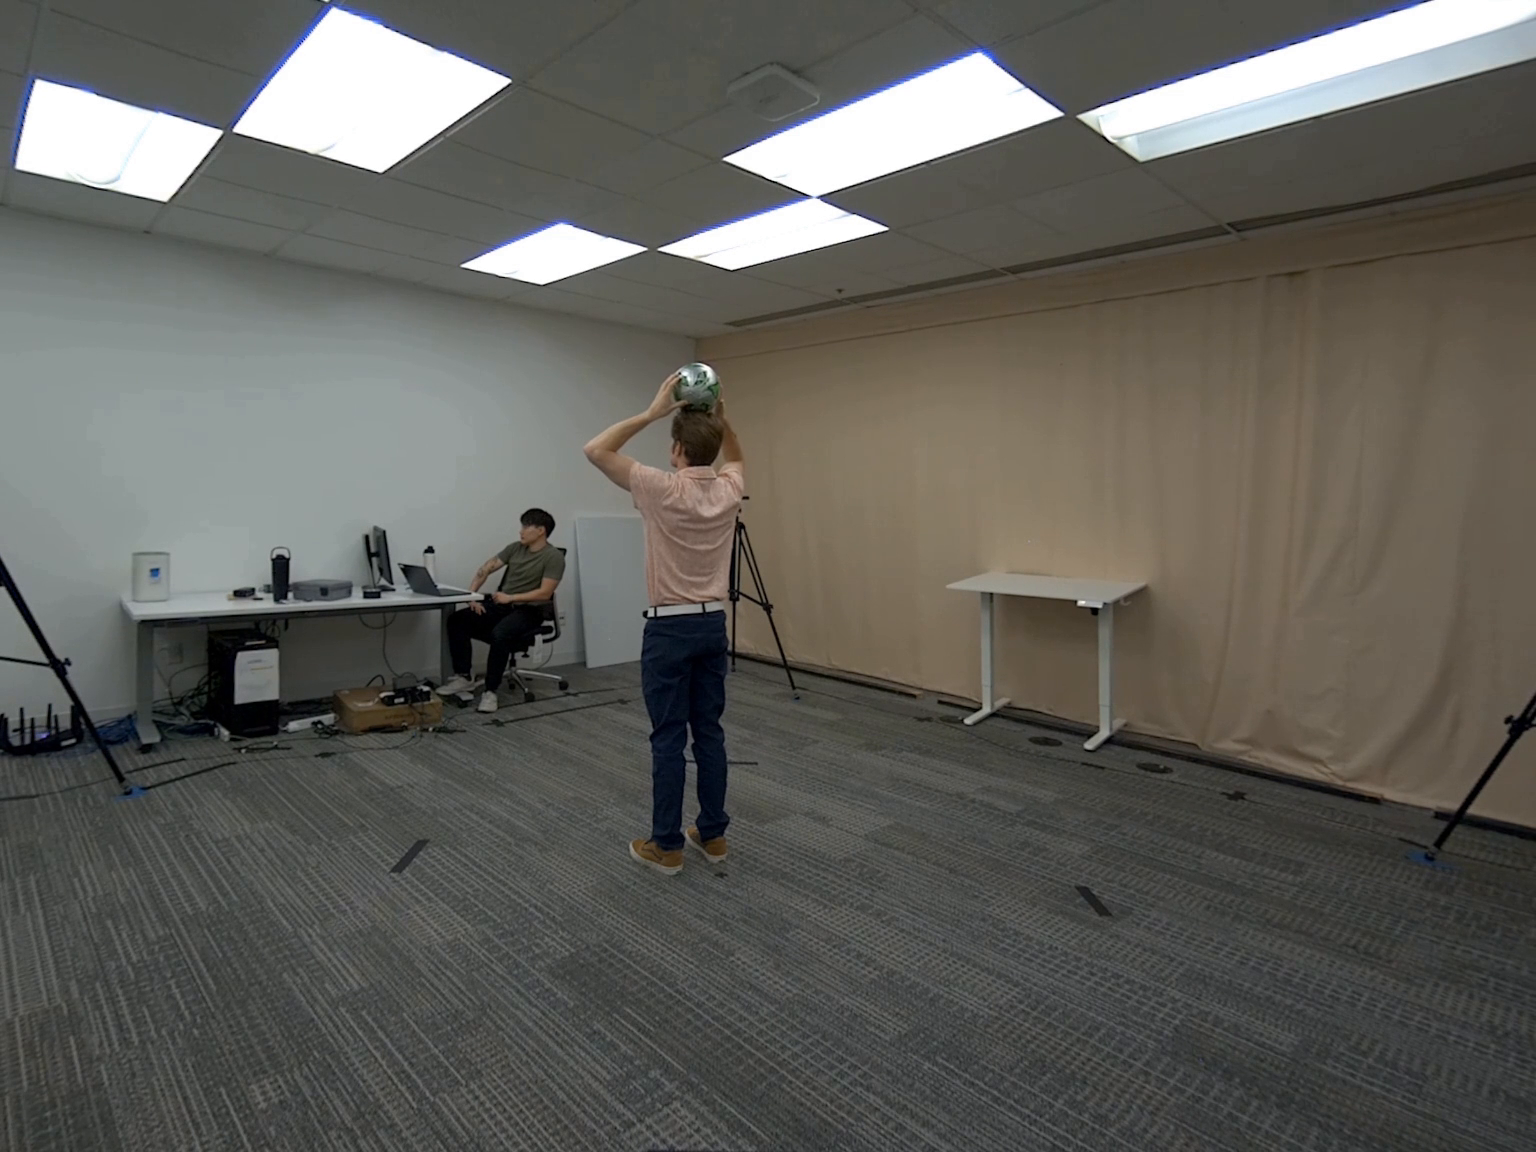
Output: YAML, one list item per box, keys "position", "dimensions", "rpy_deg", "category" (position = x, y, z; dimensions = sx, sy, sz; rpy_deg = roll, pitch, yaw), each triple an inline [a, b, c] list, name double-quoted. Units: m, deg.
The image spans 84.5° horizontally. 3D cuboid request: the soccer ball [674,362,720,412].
- position: [-0.277, -0.697, 3.144]
  dimensions: [0.187, 0.187, 0.188]
  rpy_deg: [1, 4, -1]
  category: "soccer ball"
